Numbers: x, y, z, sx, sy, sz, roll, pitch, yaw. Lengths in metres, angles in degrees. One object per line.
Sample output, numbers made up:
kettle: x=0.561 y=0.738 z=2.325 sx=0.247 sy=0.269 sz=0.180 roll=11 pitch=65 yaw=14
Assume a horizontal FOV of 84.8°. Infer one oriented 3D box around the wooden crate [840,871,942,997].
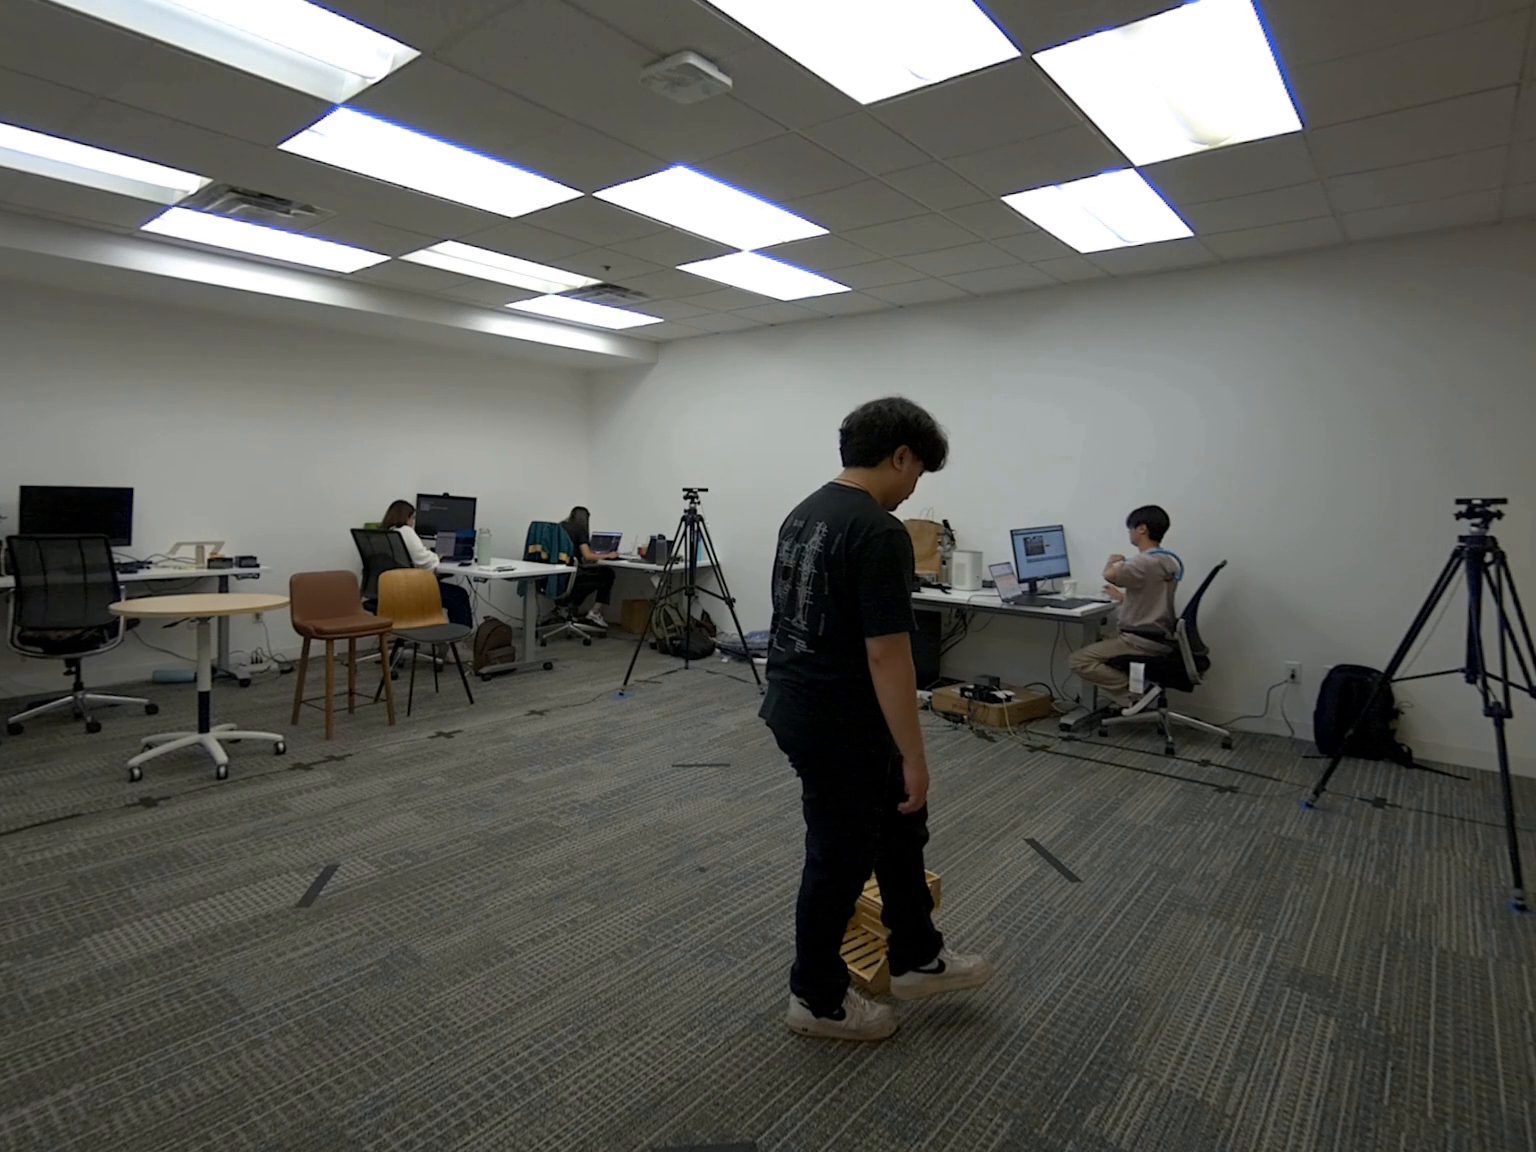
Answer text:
wooden crate: x=0.292 y=0.999 z=2.541 sx=0.293 sy=0.273 sz=0.335 roll=-1 pitch=4 yaw=-40
